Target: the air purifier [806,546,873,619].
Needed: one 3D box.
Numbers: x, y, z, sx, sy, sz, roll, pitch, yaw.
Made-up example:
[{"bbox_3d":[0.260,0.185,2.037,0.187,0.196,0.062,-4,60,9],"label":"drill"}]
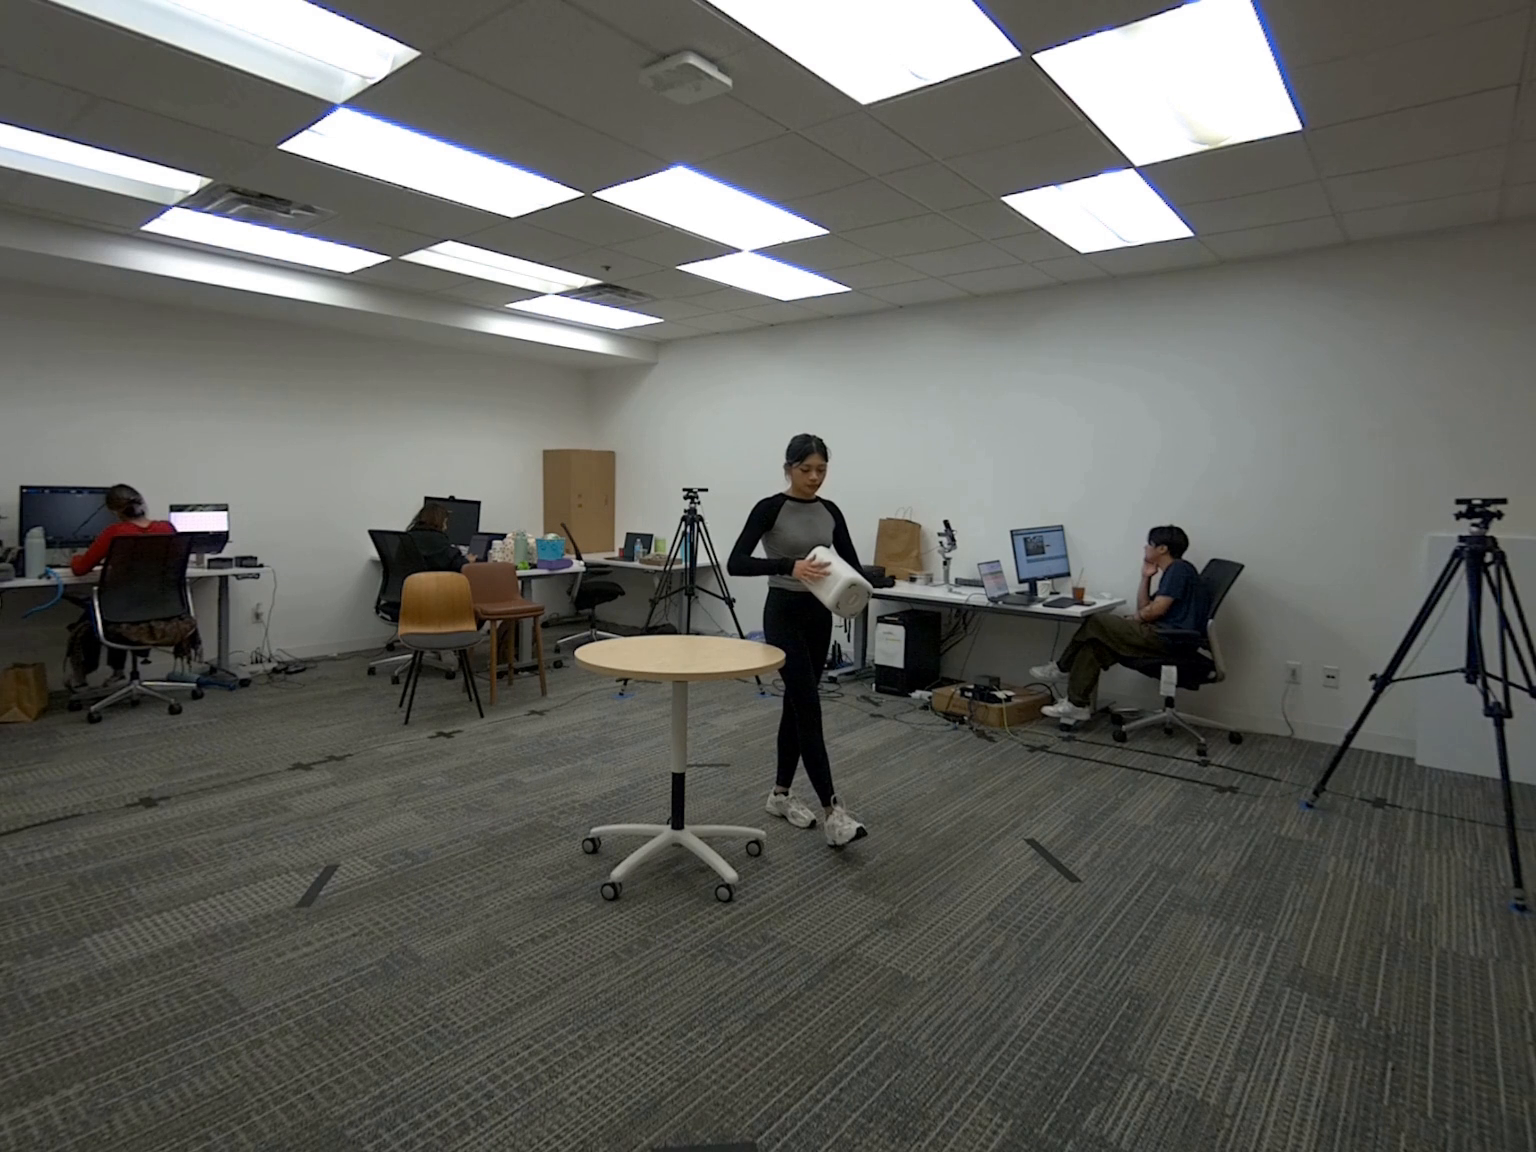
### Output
[{"bbox_3d":[0.259,0.023,3.299,0.164,0.171,0.276,30,10,-37],"label":"air purifier"}]
